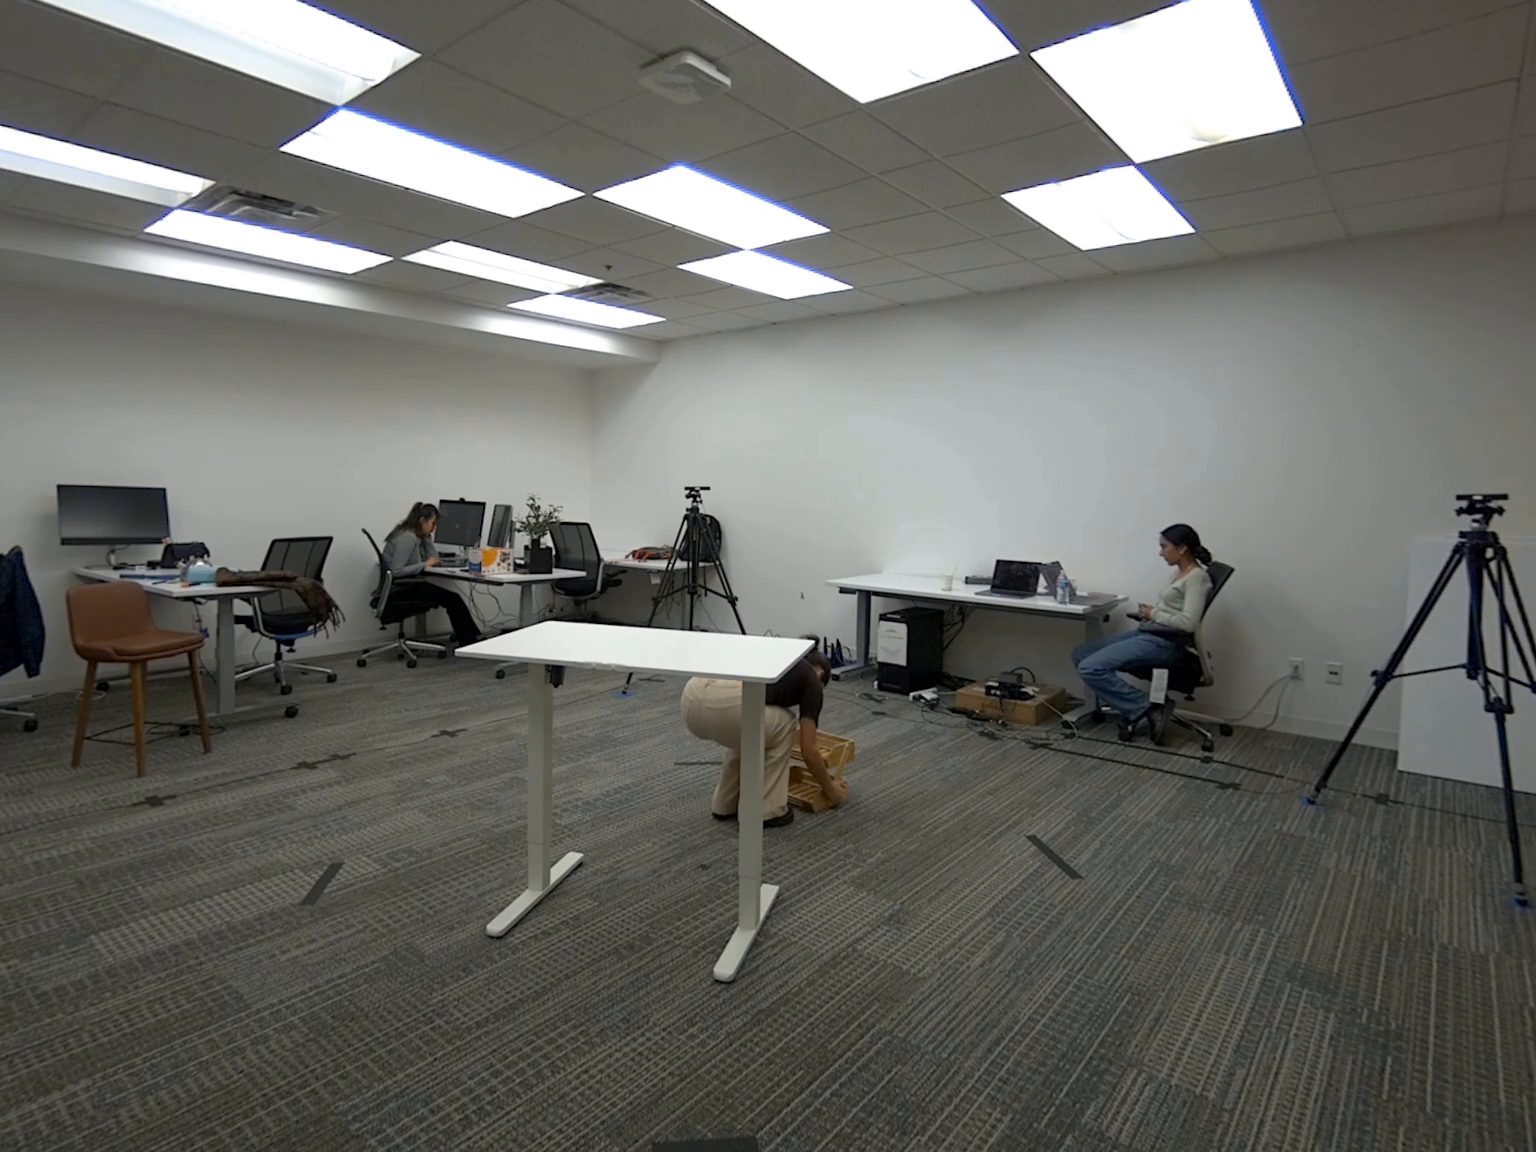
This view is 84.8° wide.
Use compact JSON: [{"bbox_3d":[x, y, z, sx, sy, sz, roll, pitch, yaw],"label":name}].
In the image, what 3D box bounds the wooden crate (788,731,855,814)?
[{"bbox_3d":[0.172,0.864,3.858,0.335,0.272,0.293,5,5,44],"label":"wooden crate"}]
